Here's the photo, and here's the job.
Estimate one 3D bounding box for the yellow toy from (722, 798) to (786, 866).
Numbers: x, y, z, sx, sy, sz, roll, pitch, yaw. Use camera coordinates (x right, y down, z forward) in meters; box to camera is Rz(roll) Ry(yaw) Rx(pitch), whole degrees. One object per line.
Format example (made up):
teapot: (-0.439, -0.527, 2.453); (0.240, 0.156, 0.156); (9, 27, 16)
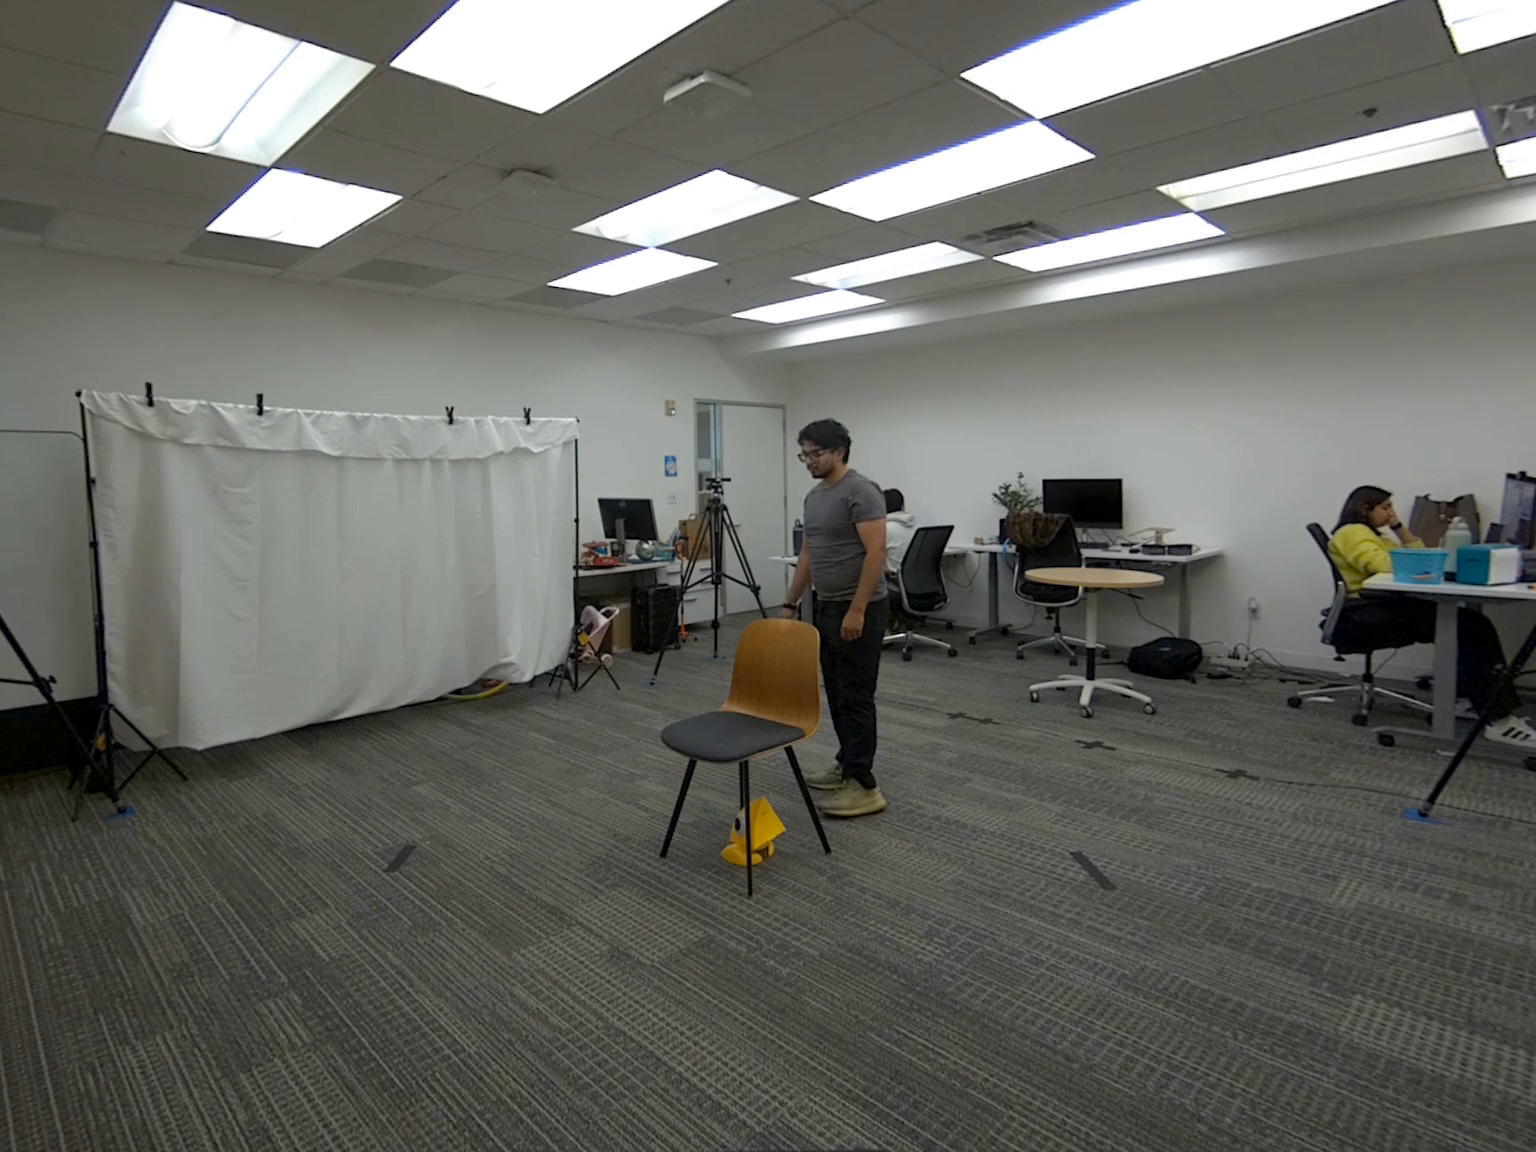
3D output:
yellow toy: (-0.060, 0.919, 3.175); (0.199, 0.230, 0.200); (3, 6, 36)
